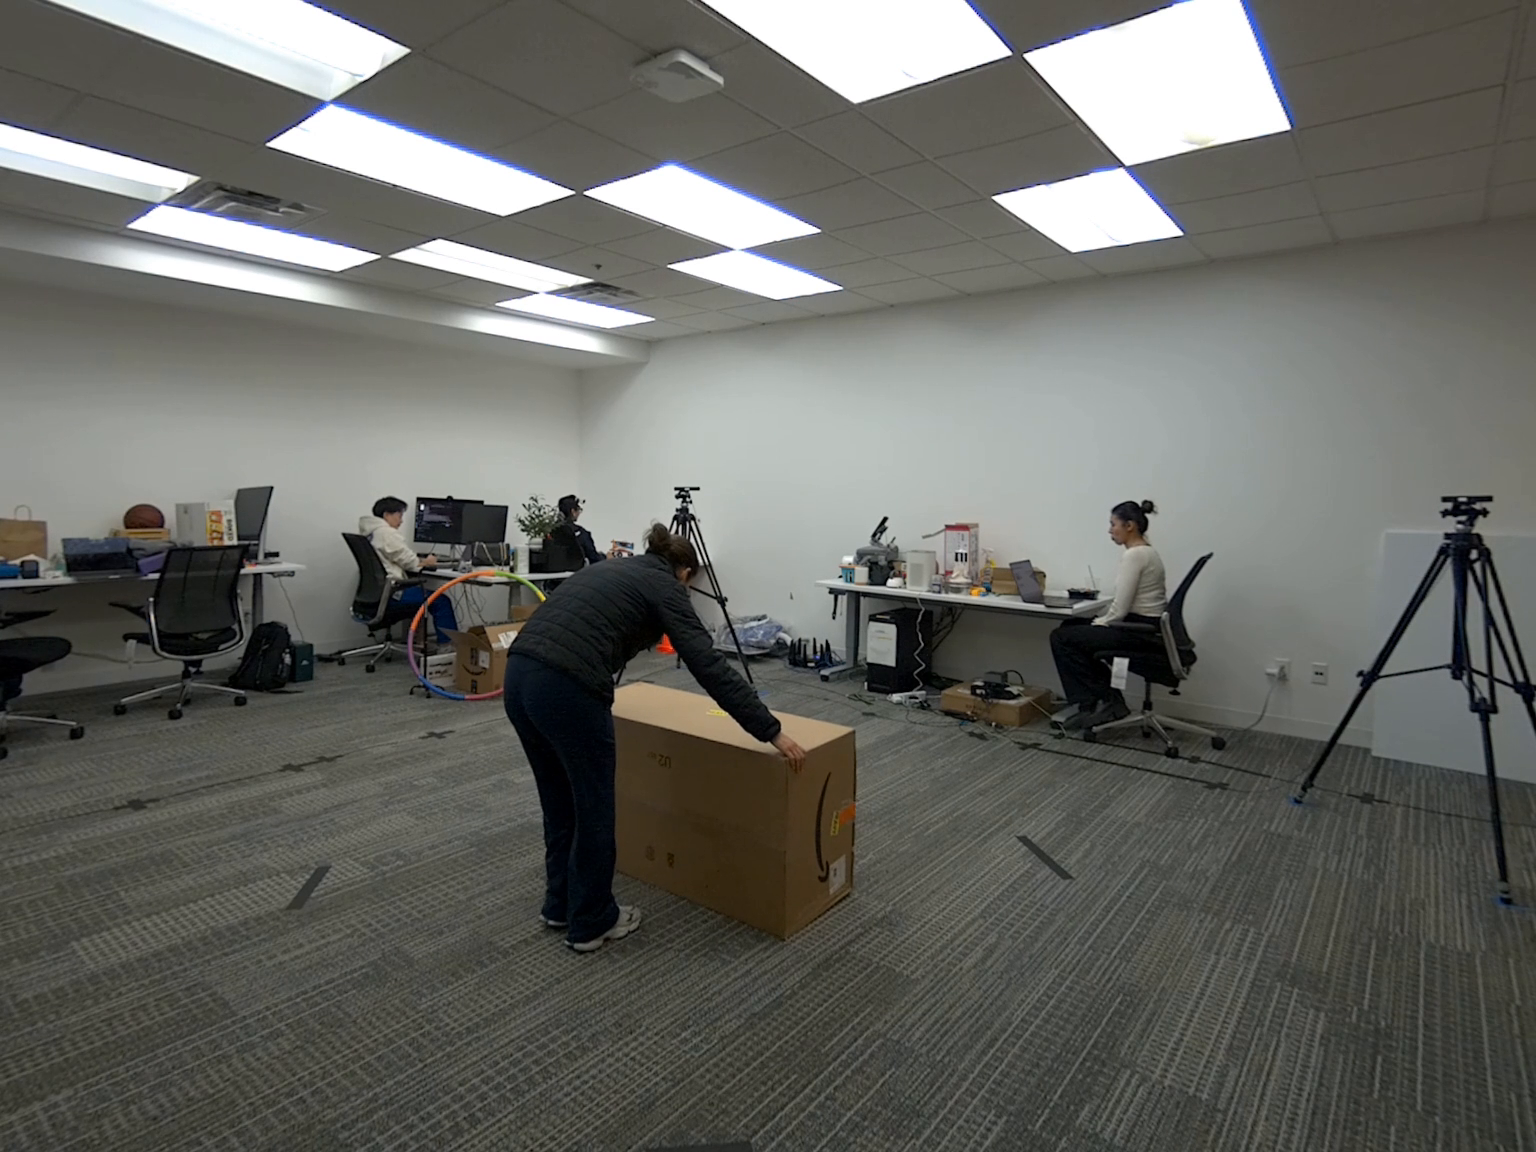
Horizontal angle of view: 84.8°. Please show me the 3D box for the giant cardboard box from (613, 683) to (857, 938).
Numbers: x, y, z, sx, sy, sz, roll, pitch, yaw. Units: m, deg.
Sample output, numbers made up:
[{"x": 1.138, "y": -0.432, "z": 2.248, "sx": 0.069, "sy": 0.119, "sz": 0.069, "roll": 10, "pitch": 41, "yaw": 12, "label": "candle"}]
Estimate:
[{"x": -0.223, "y": 0.780, "z": 3.091, "sx": 1.061, "sy": 0.582, "sz": 0.434, "roll": 5, "pitch": 6, "yaw": 38, "label": "giant cardboard box"}]
